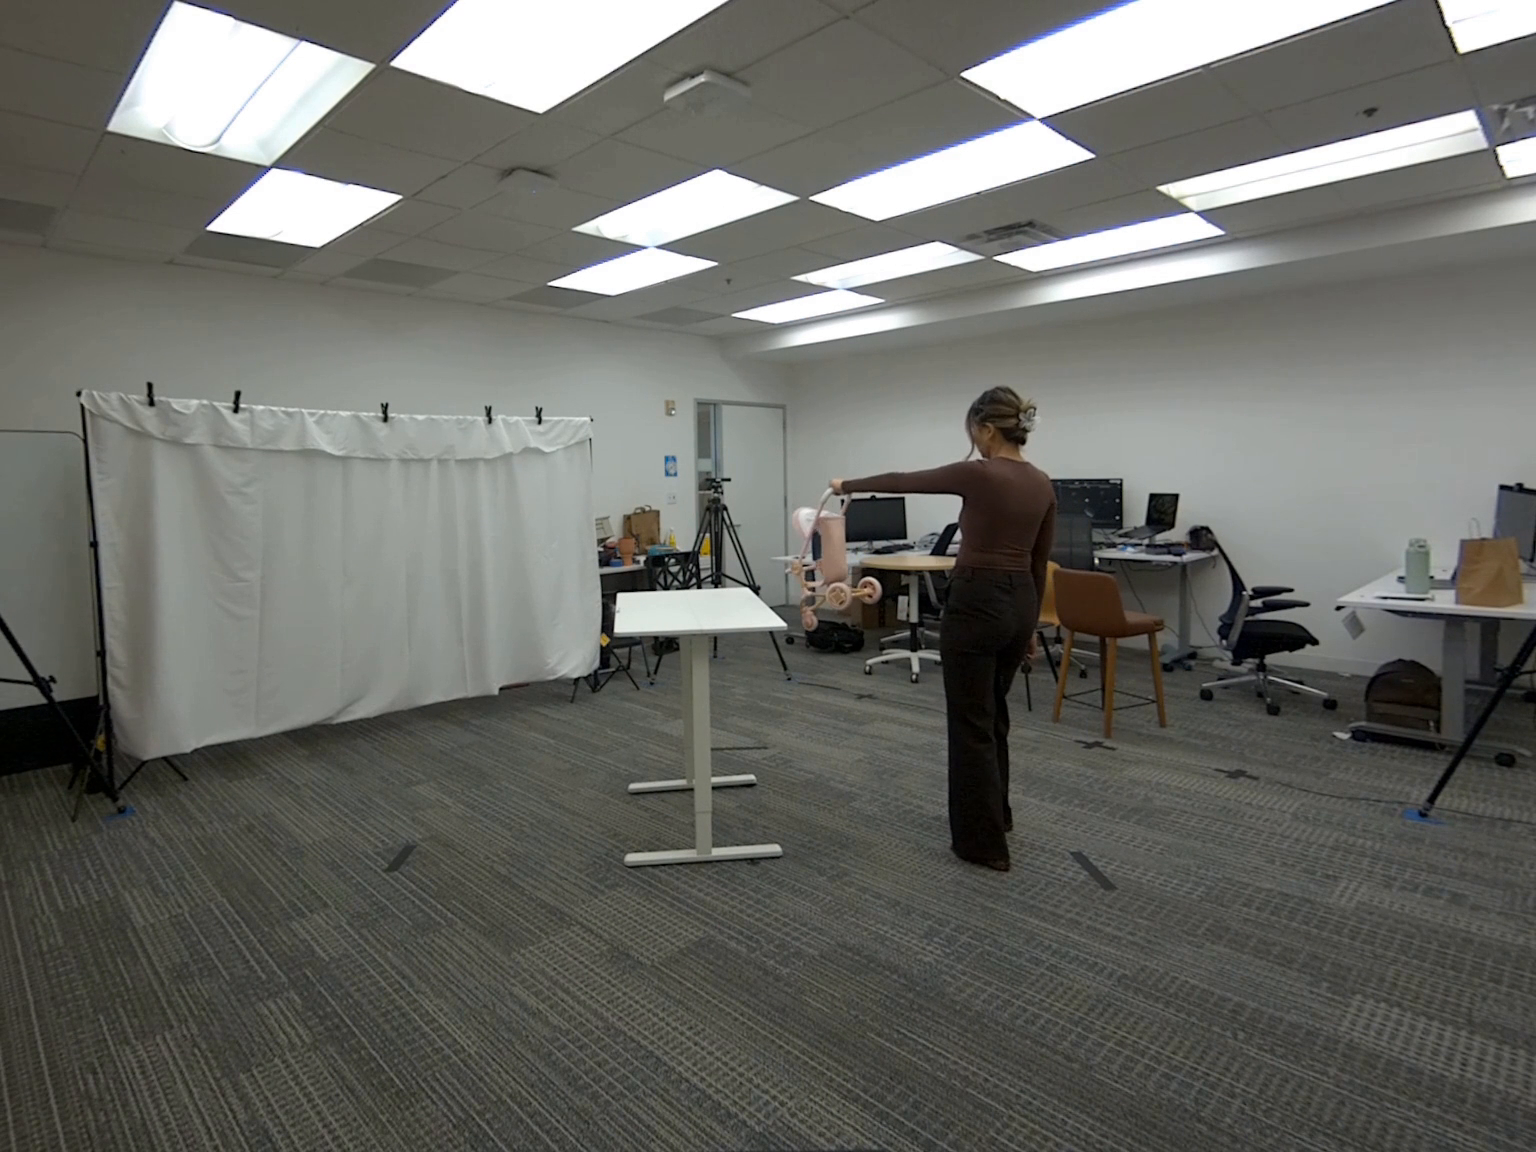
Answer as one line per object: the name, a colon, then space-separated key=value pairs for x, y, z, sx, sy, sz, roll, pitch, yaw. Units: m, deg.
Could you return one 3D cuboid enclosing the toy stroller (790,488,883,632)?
toy stroller: x=0.231 y=-0.062 z=3.494 sx=0.348 sy=0.538 sz=0.274 roll=-16 pitch=-6 yaw=40
